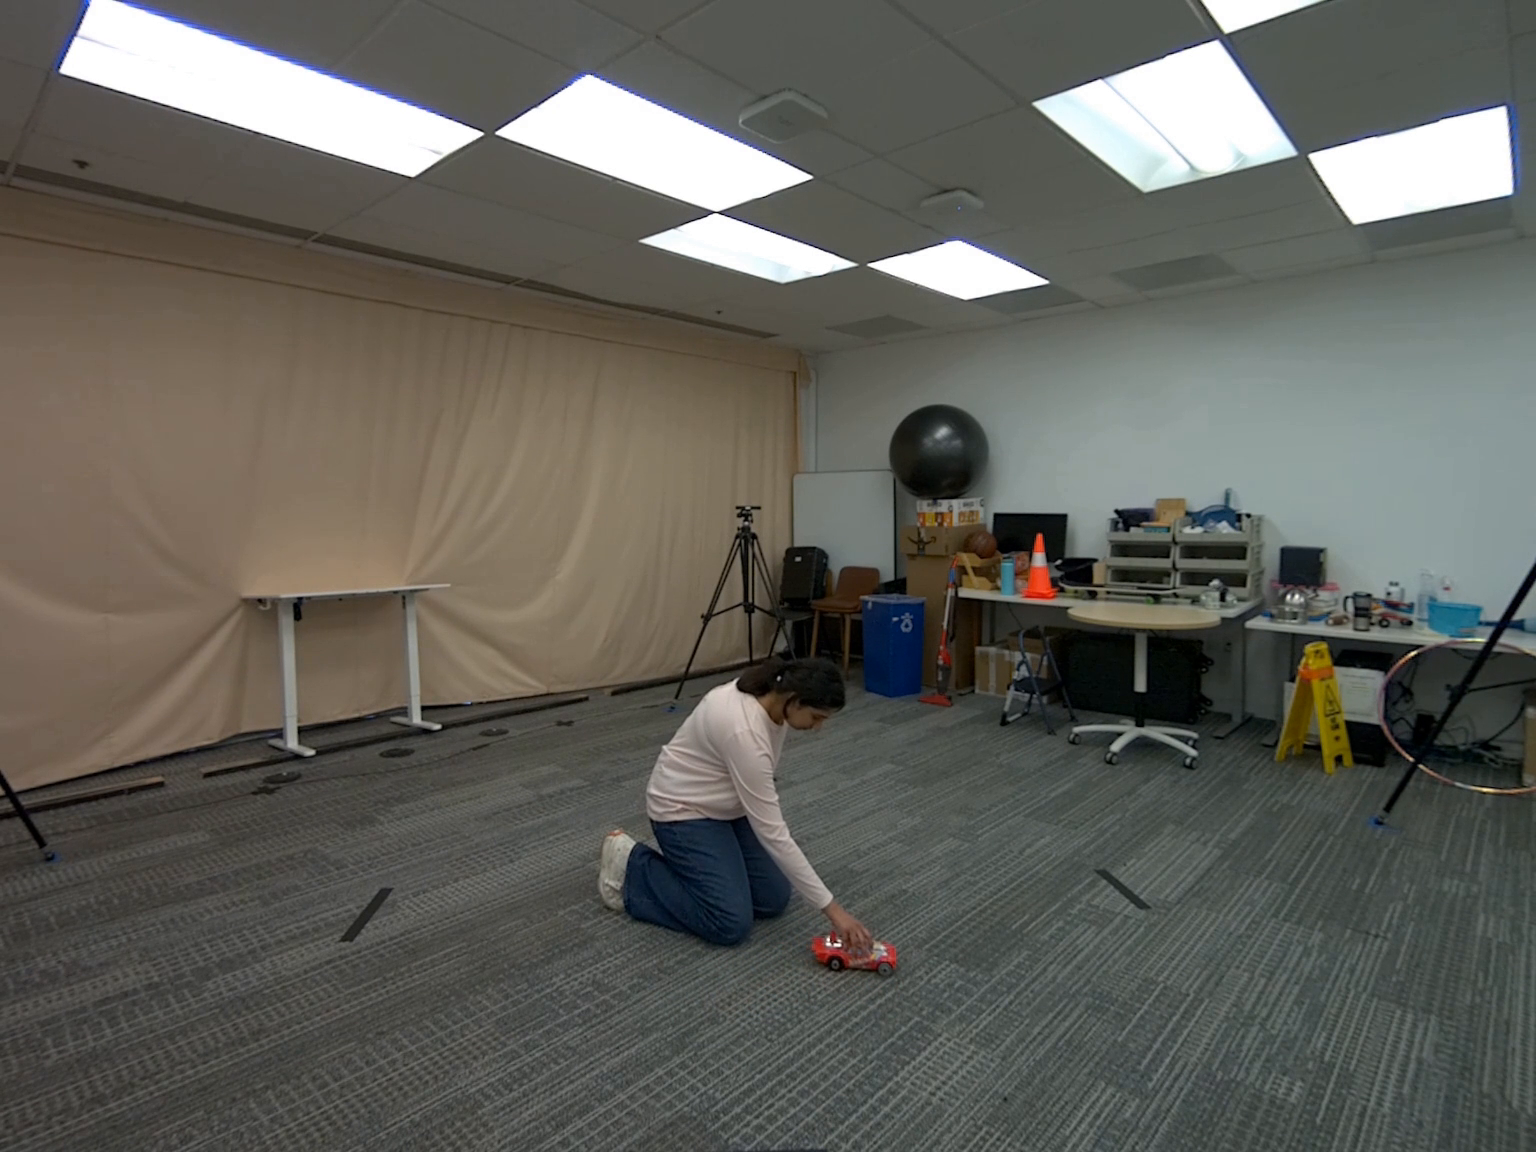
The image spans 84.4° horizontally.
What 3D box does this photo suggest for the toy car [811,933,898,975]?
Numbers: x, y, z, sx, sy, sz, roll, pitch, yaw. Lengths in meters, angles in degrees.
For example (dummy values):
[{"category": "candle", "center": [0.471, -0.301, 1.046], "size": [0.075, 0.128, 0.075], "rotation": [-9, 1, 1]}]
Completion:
[{"category": "toy car", "center": [0.262, 1.147, 2.560], "size": [0.257, 0.083, 0.129], "rotation": [9, 6, 7]}]
